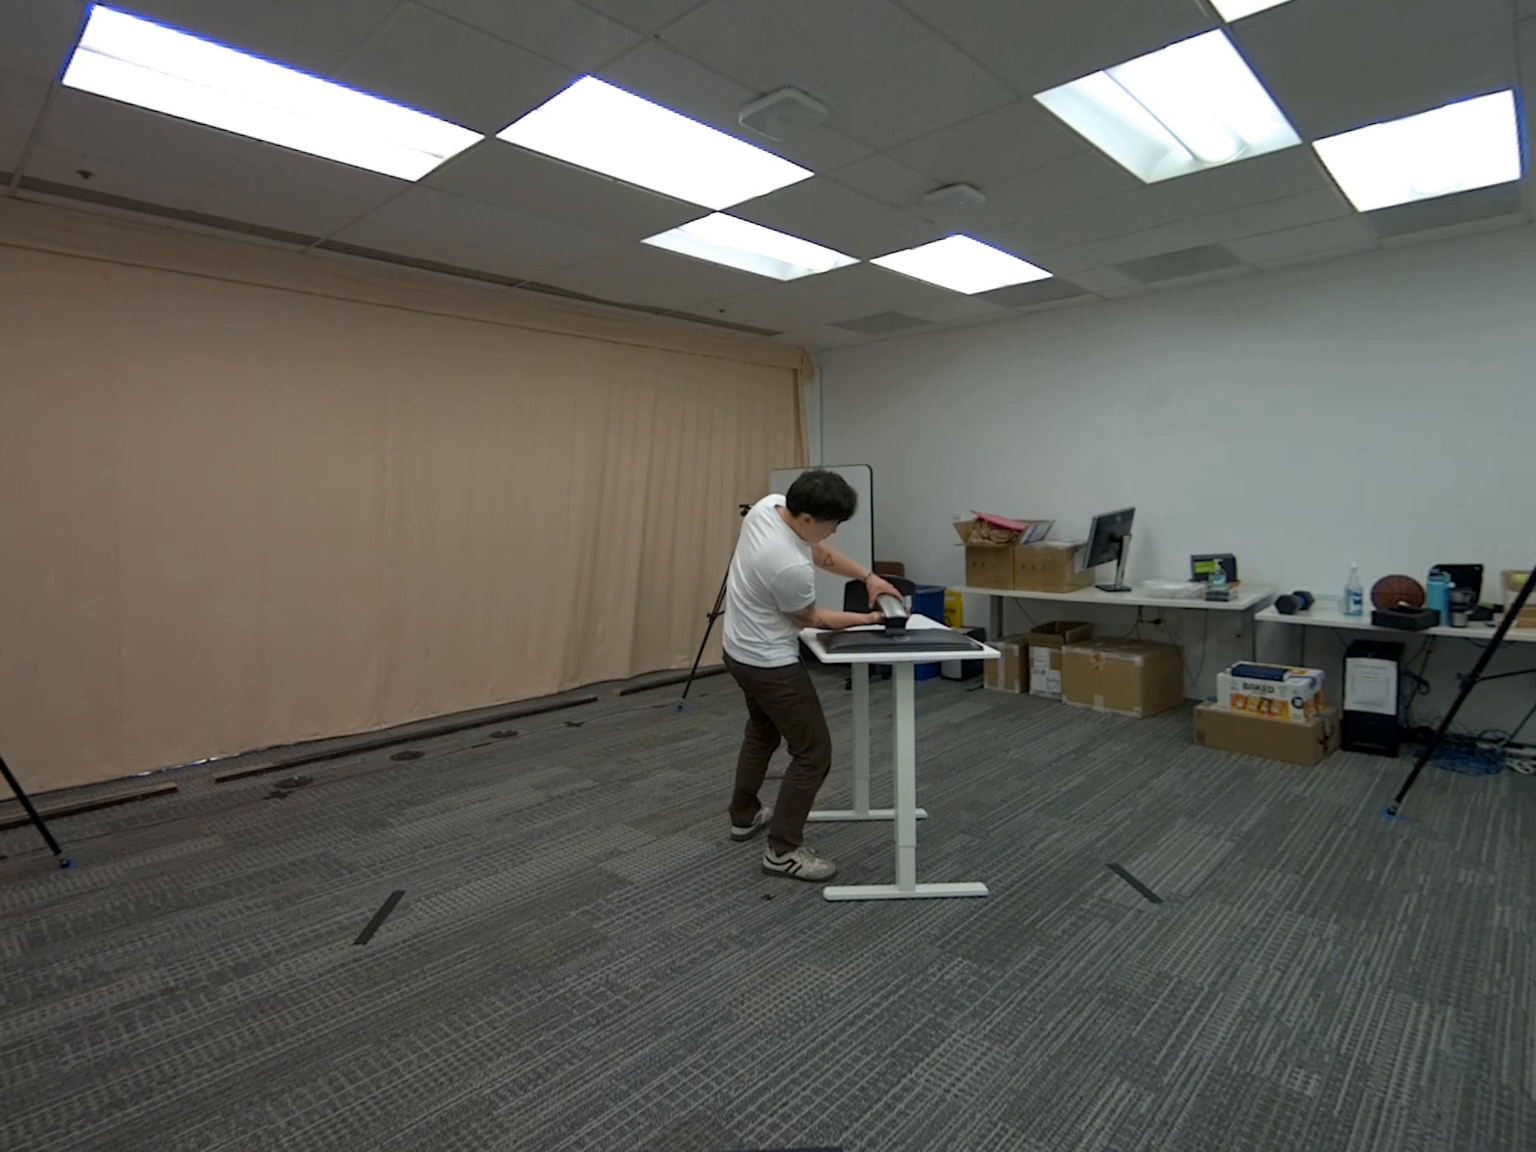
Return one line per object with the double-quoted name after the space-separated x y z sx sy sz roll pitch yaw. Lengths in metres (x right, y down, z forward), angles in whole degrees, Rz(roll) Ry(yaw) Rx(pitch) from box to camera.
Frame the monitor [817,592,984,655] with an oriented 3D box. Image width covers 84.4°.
0.461 0.178 3.109 0.539 0.184 0.529 -2 21 -1 "monitor"
